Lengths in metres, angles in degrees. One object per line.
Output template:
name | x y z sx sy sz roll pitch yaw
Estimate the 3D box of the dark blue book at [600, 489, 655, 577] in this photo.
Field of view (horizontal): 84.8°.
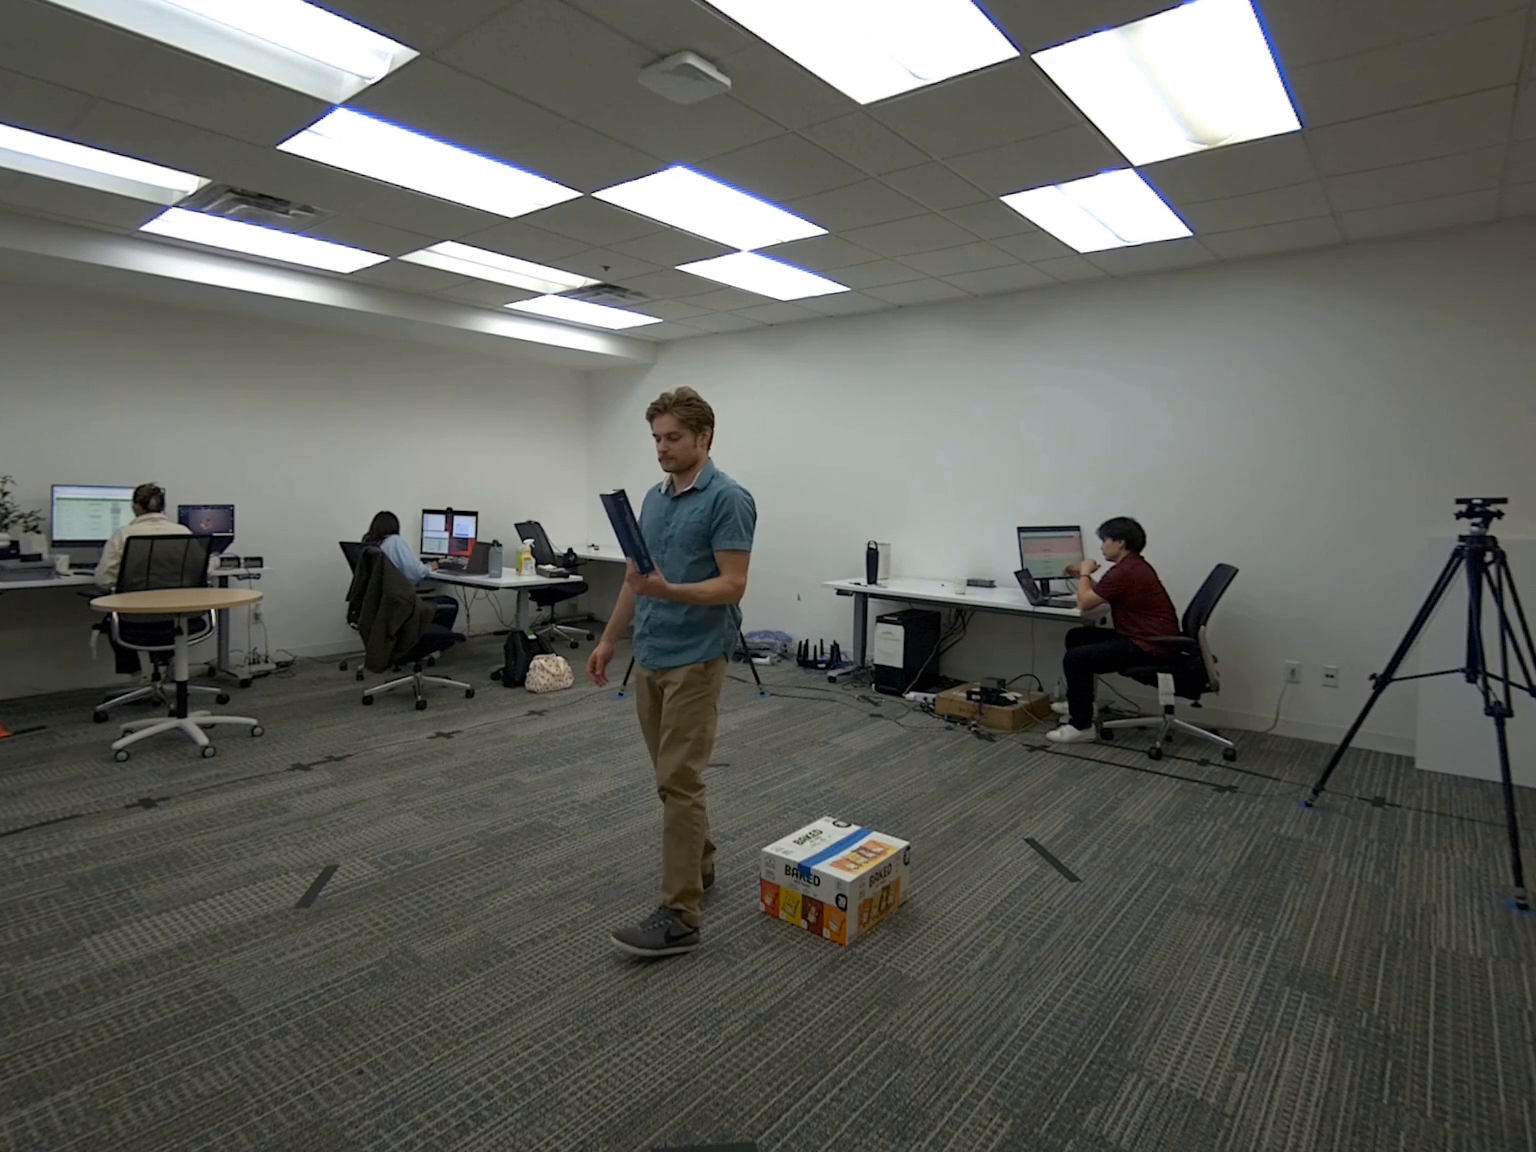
dark blue book | -0.414 -0.133 2.429 0.045 0.242 0.167 -22 10 -18
